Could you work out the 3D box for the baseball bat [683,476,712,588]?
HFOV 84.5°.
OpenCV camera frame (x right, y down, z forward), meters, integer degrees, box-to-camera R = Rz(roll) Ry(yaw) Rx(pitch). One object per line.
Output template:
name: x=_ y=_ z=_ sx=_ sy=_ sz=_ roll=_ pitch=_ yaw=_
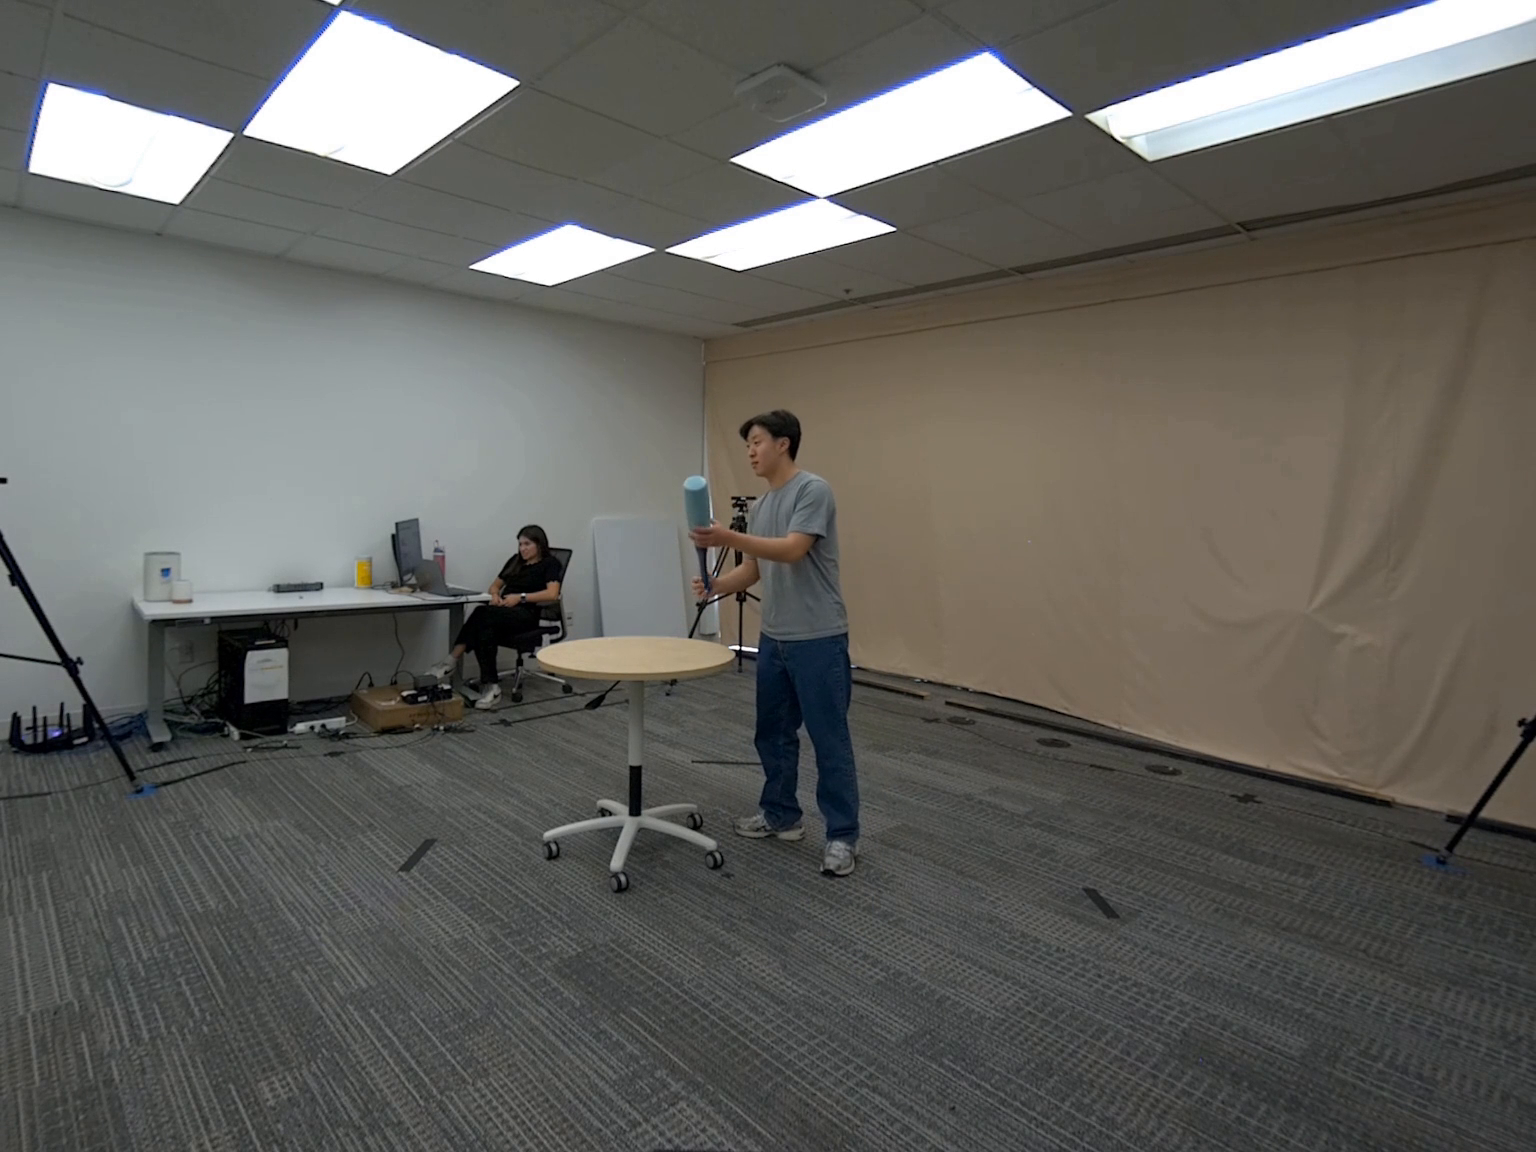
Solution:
baseball bat: x=-0.250 y=-0.130 z=3.098 sx=0.089 sy=0.530 sz=0.091 roll=-4 pitch=43 yaw=2
